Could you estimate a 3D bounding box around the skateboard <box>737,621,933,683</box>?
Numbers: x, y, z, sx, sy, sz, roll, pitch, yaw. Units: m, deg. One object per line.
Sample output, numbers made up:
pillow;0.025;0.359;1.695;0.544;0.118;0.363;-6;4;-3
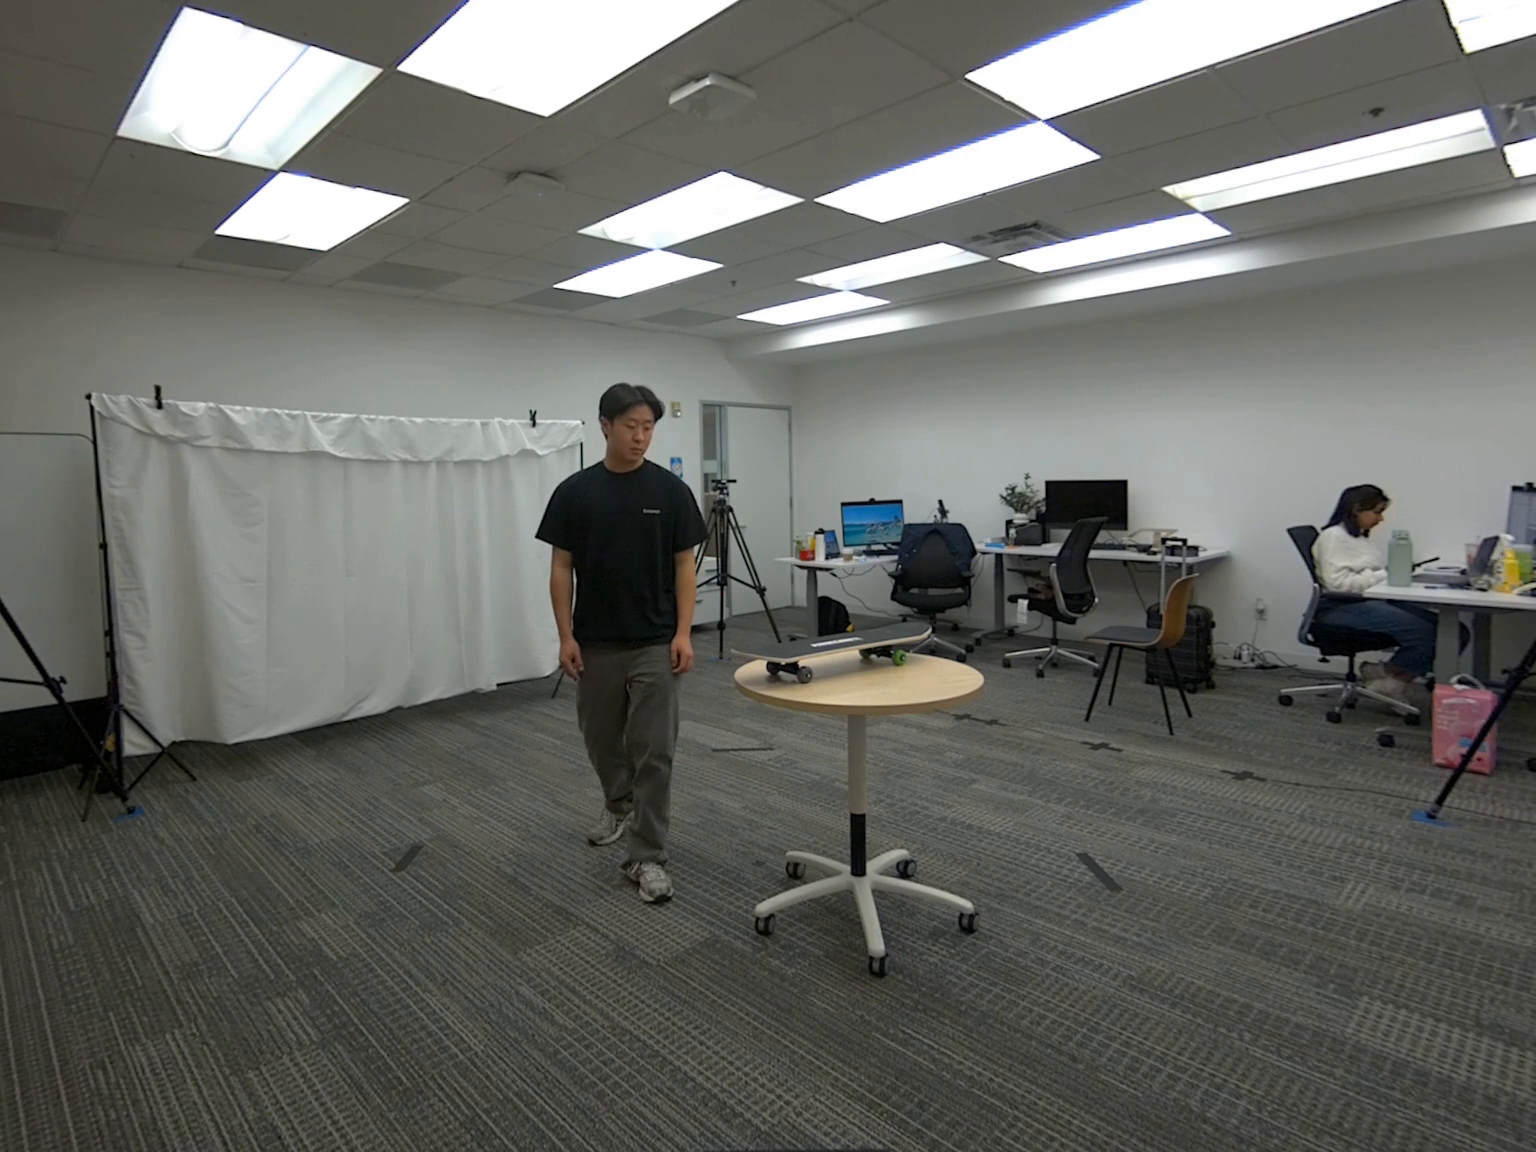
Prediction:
skateboard;0.217;0.249;2.741;0.766;0.110;0.199;-6;7;-35
